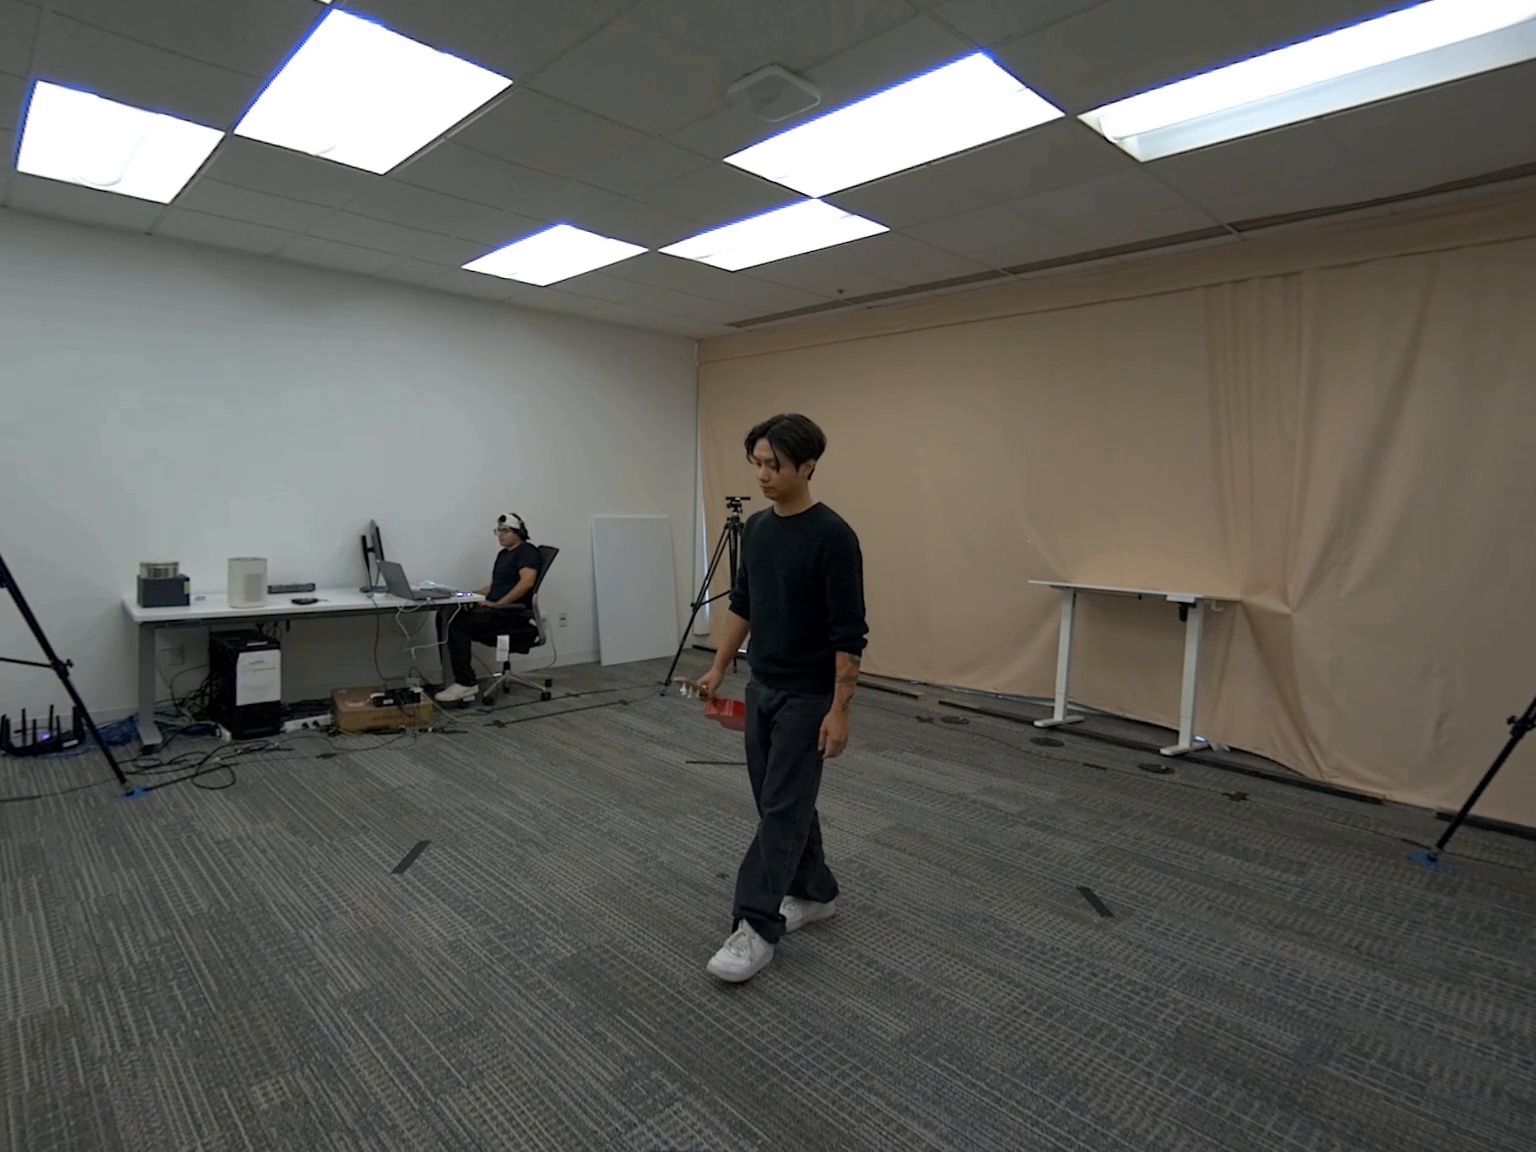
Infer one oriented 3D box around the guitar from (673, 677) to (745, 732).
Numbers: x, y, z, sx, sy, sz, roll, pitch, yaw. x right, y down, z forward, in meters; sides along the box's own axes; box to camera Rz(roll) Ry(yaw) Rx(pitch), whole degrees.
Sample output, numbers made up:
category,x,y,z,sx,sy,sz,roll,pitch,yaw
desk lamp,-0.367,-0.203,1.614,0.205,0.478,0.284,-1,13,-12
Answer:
category,x,y,z,sx,sy,sz,roll,pitch,yaw
guitar,-0.194,0.454,2.914,0.197,0.071,0.482,-7,-27,42
